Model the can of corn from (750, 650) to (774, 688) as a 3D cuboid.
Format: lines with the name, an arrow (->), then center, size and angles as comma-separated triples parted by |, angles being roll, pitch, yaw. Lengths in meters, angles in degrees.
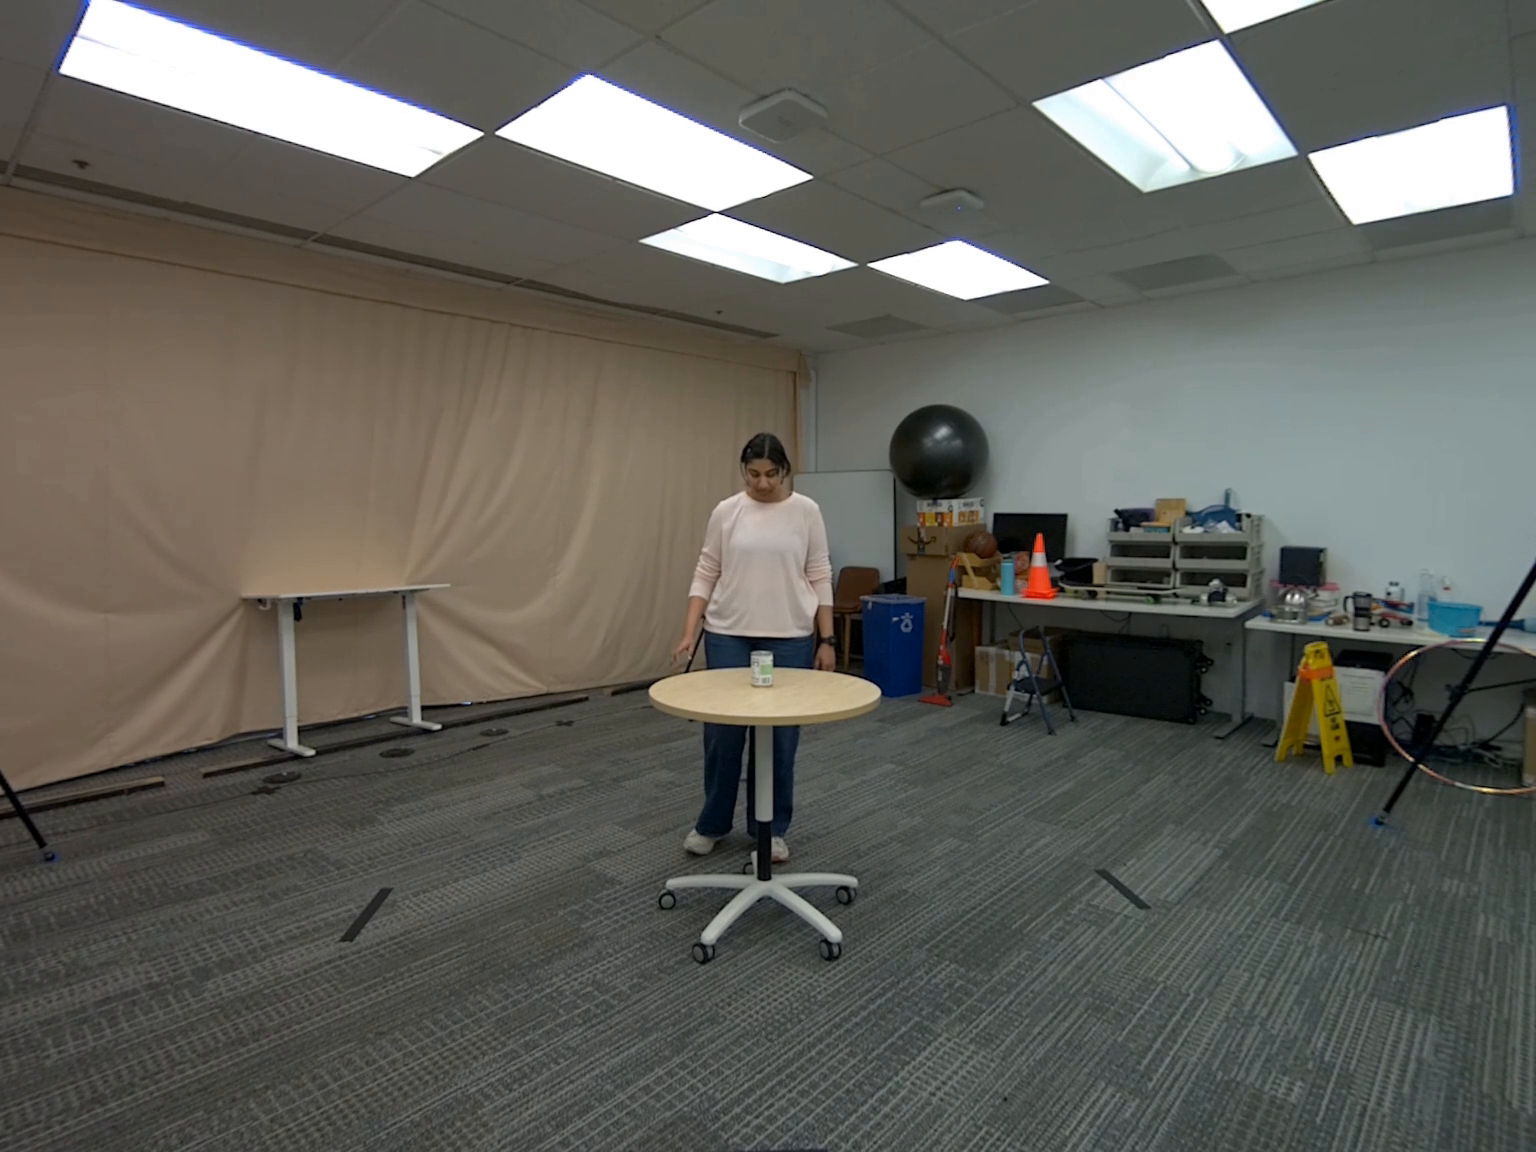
can of corn -> -0.014, 0.313, 2.853 | 0.074, 0.111, 0.074 | -2, 2, -2
